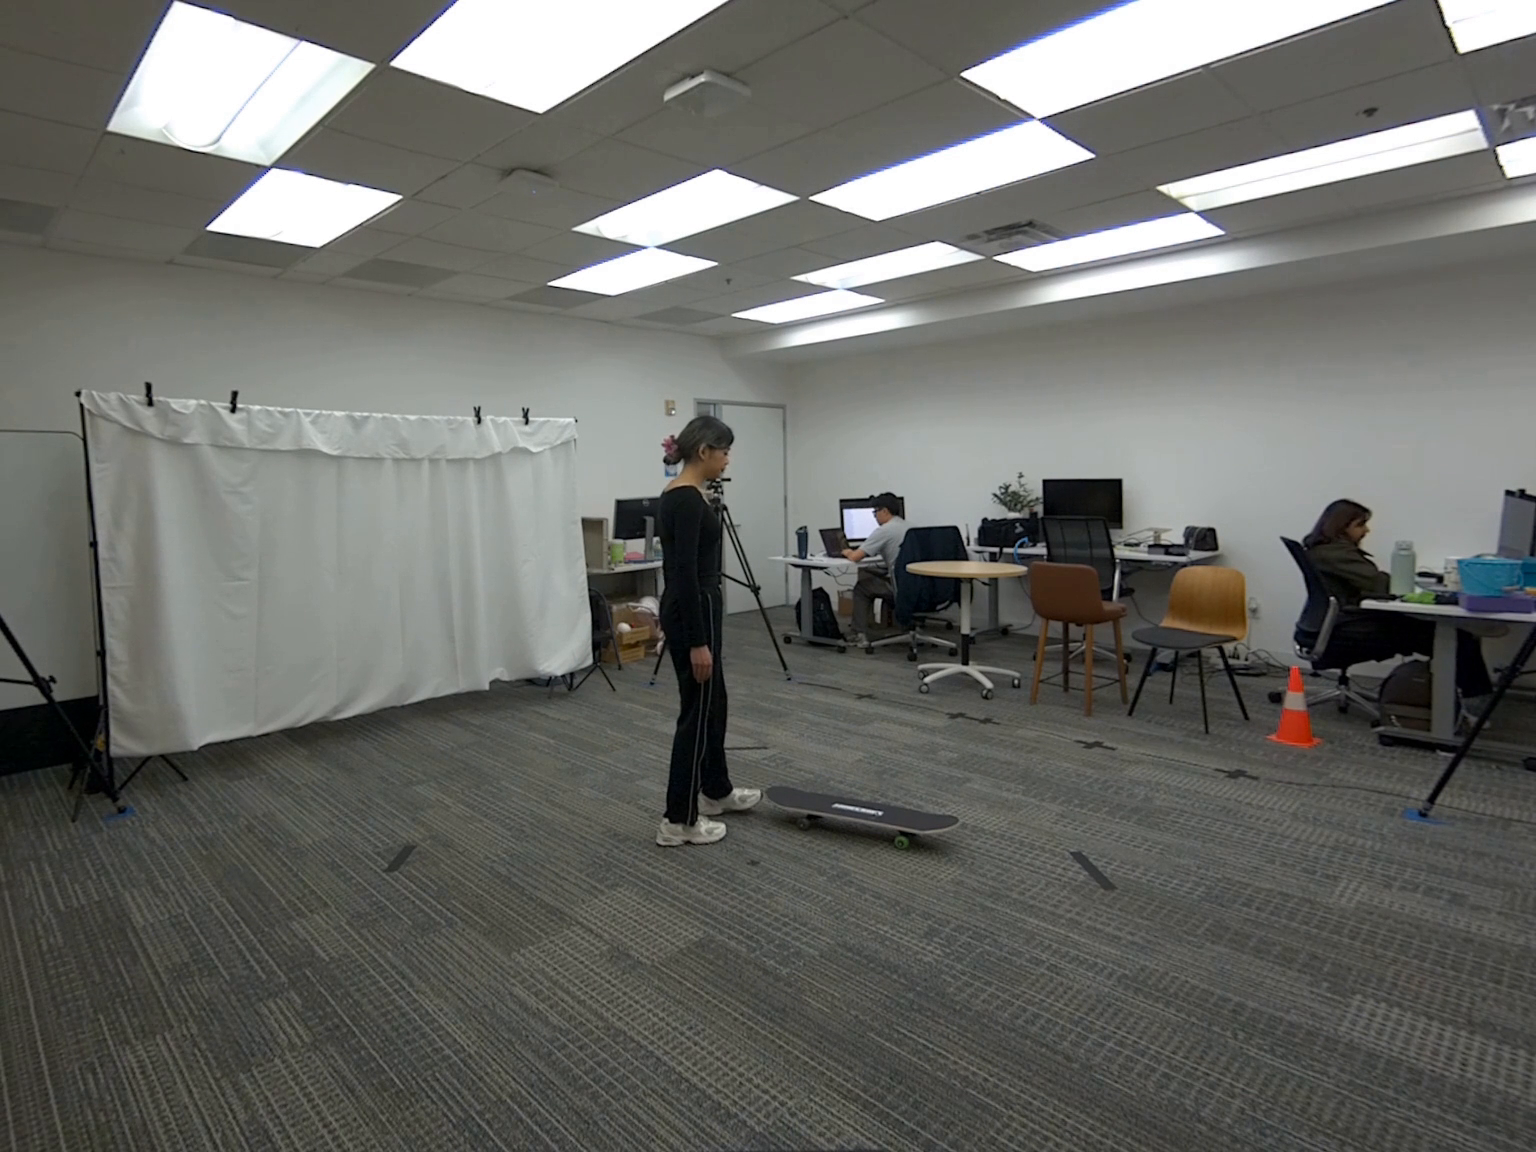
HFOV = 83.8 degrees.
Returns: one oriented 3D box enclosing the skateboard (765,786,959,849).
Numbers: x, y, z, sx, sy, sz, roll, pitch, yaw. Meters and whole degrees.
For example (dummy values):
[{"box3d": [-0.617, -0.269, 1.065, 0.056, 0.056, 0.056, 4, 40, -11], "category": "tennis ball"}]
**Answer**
[{"box3d": [0.358, 0.952, 3.359, 0.805, 0.110, 0.190, 2, 7, 27], "category": "skateboard"}]
